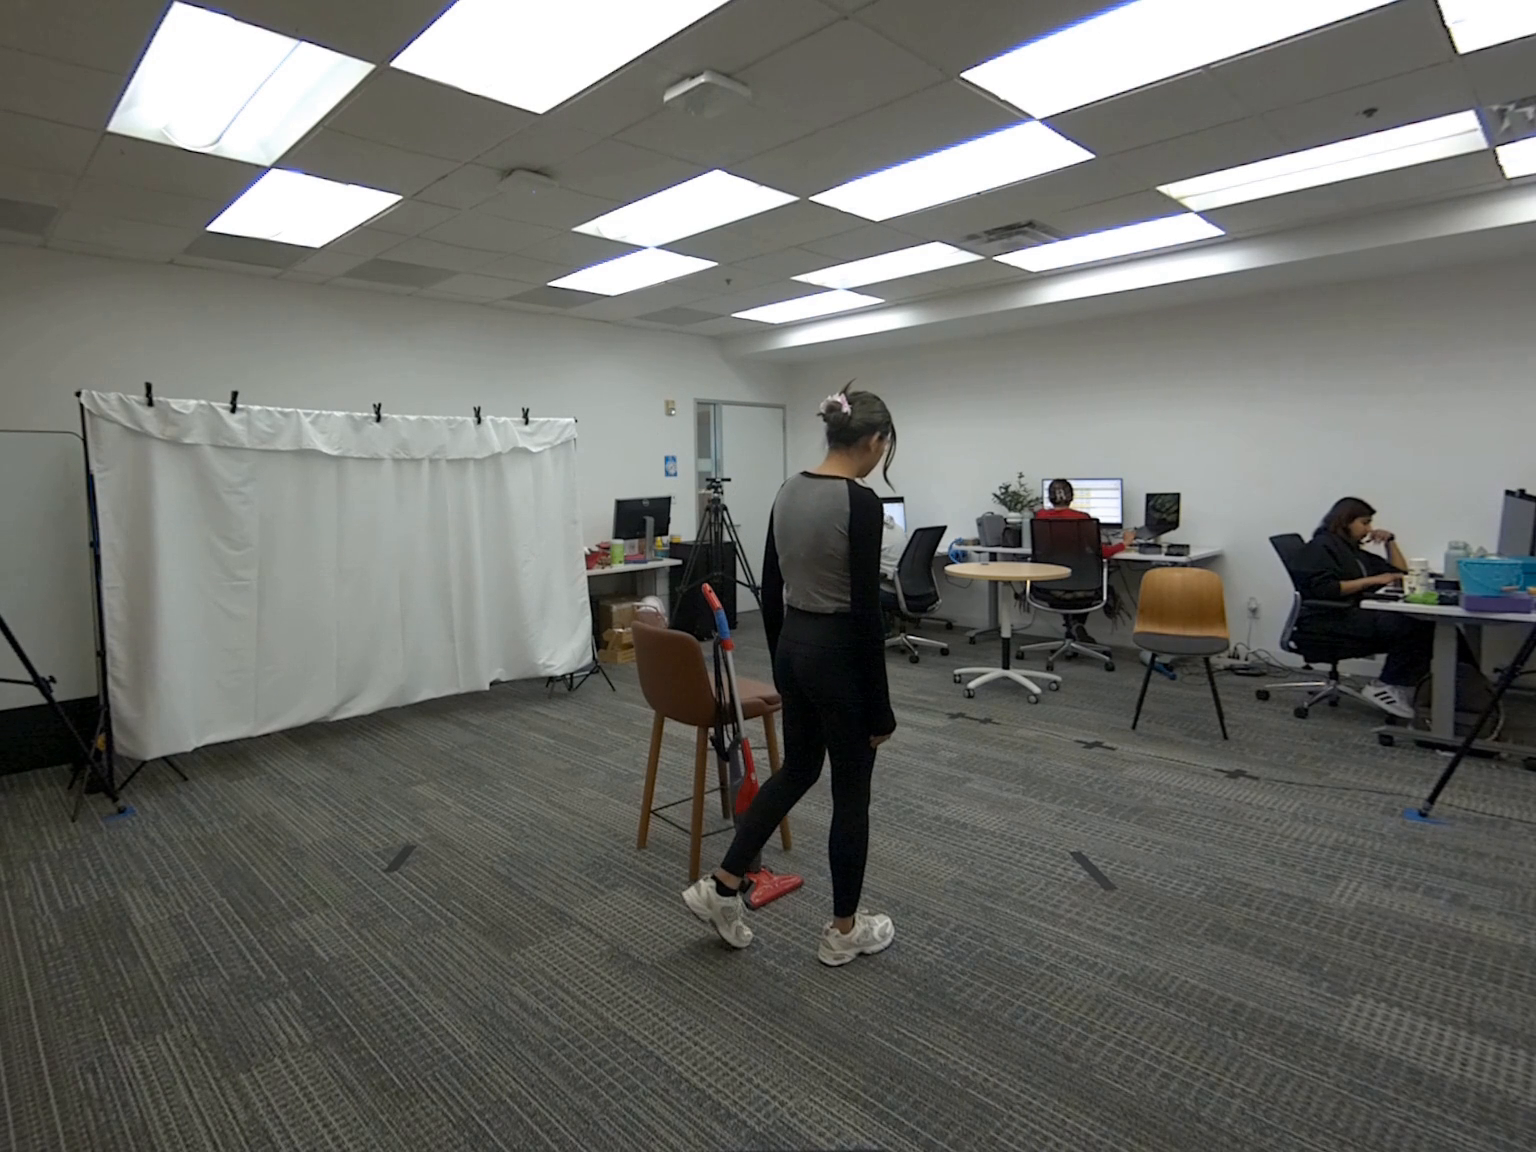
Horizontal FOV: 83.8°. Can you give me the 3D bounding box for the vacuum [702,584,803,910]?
[{"bbox_3d":[-0.111,0.549,2.950,0.246,1.057,0.146,-6,-8,-33],"label":"vacuum"}]
